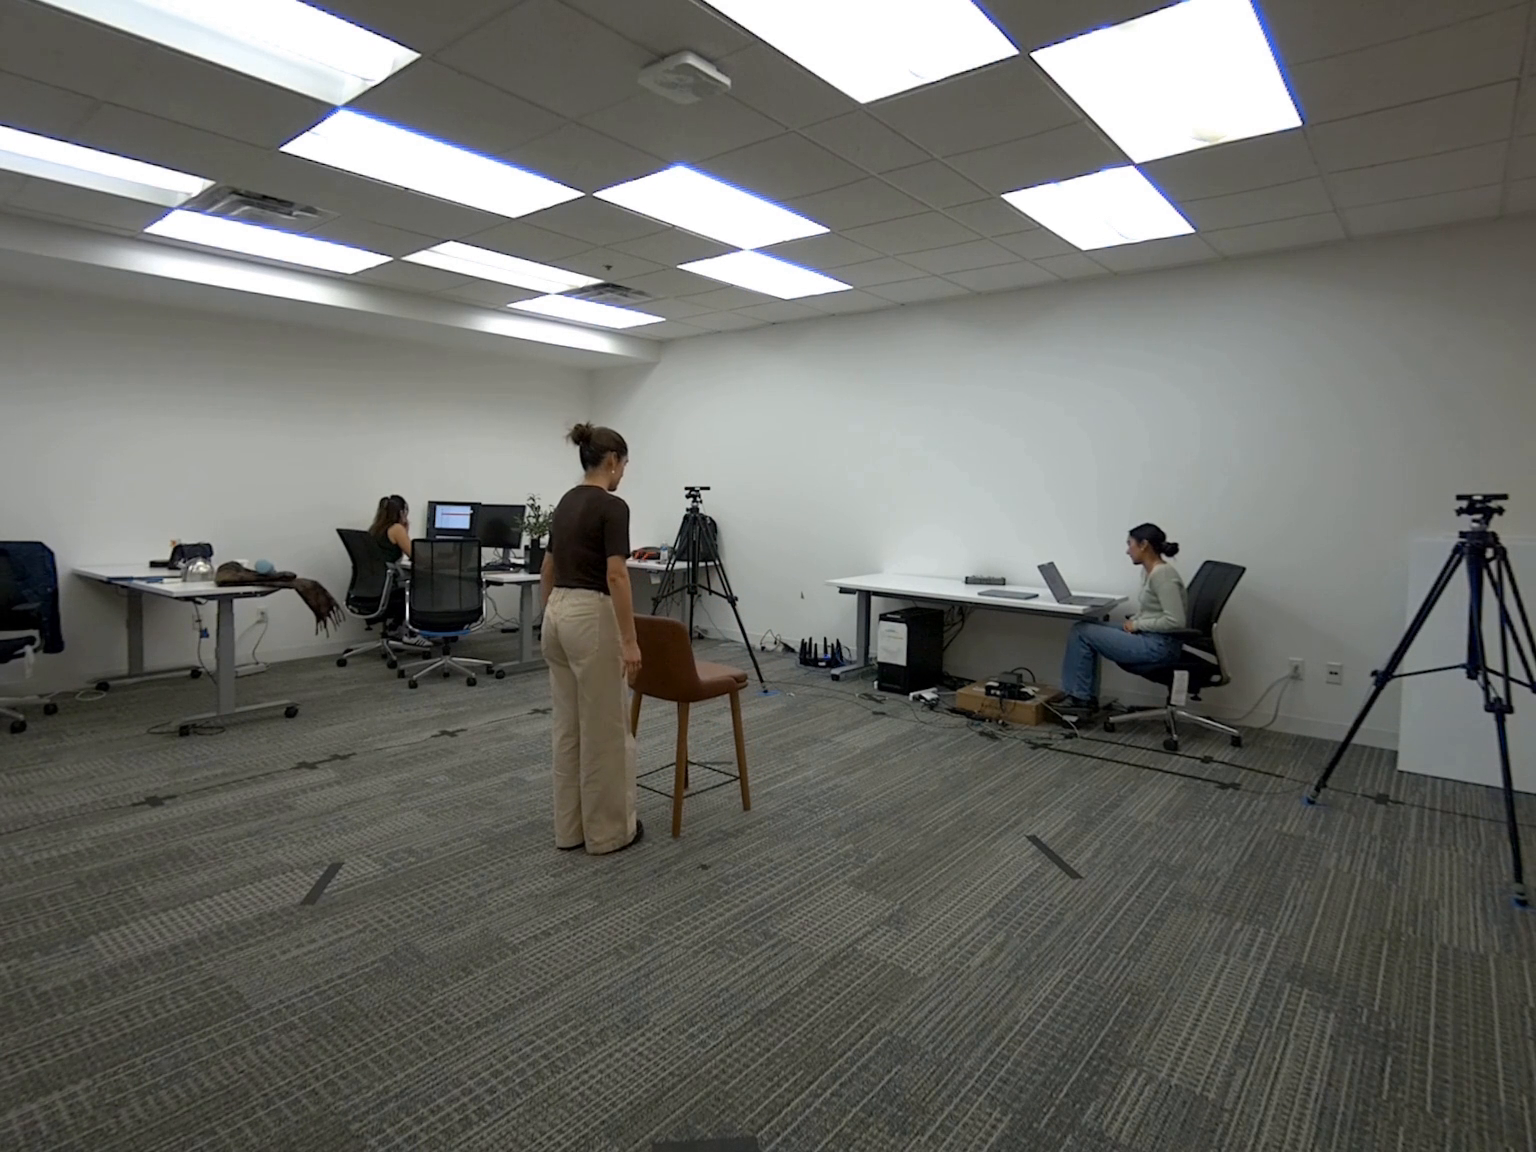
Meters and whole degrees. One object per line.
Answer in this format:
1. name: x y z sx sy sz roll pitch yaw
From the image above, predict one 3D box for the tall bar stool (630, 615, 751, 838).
1. tall bar stool: -0.380 0.575 3.633 0.471 0.886 0.454 3 5 40
